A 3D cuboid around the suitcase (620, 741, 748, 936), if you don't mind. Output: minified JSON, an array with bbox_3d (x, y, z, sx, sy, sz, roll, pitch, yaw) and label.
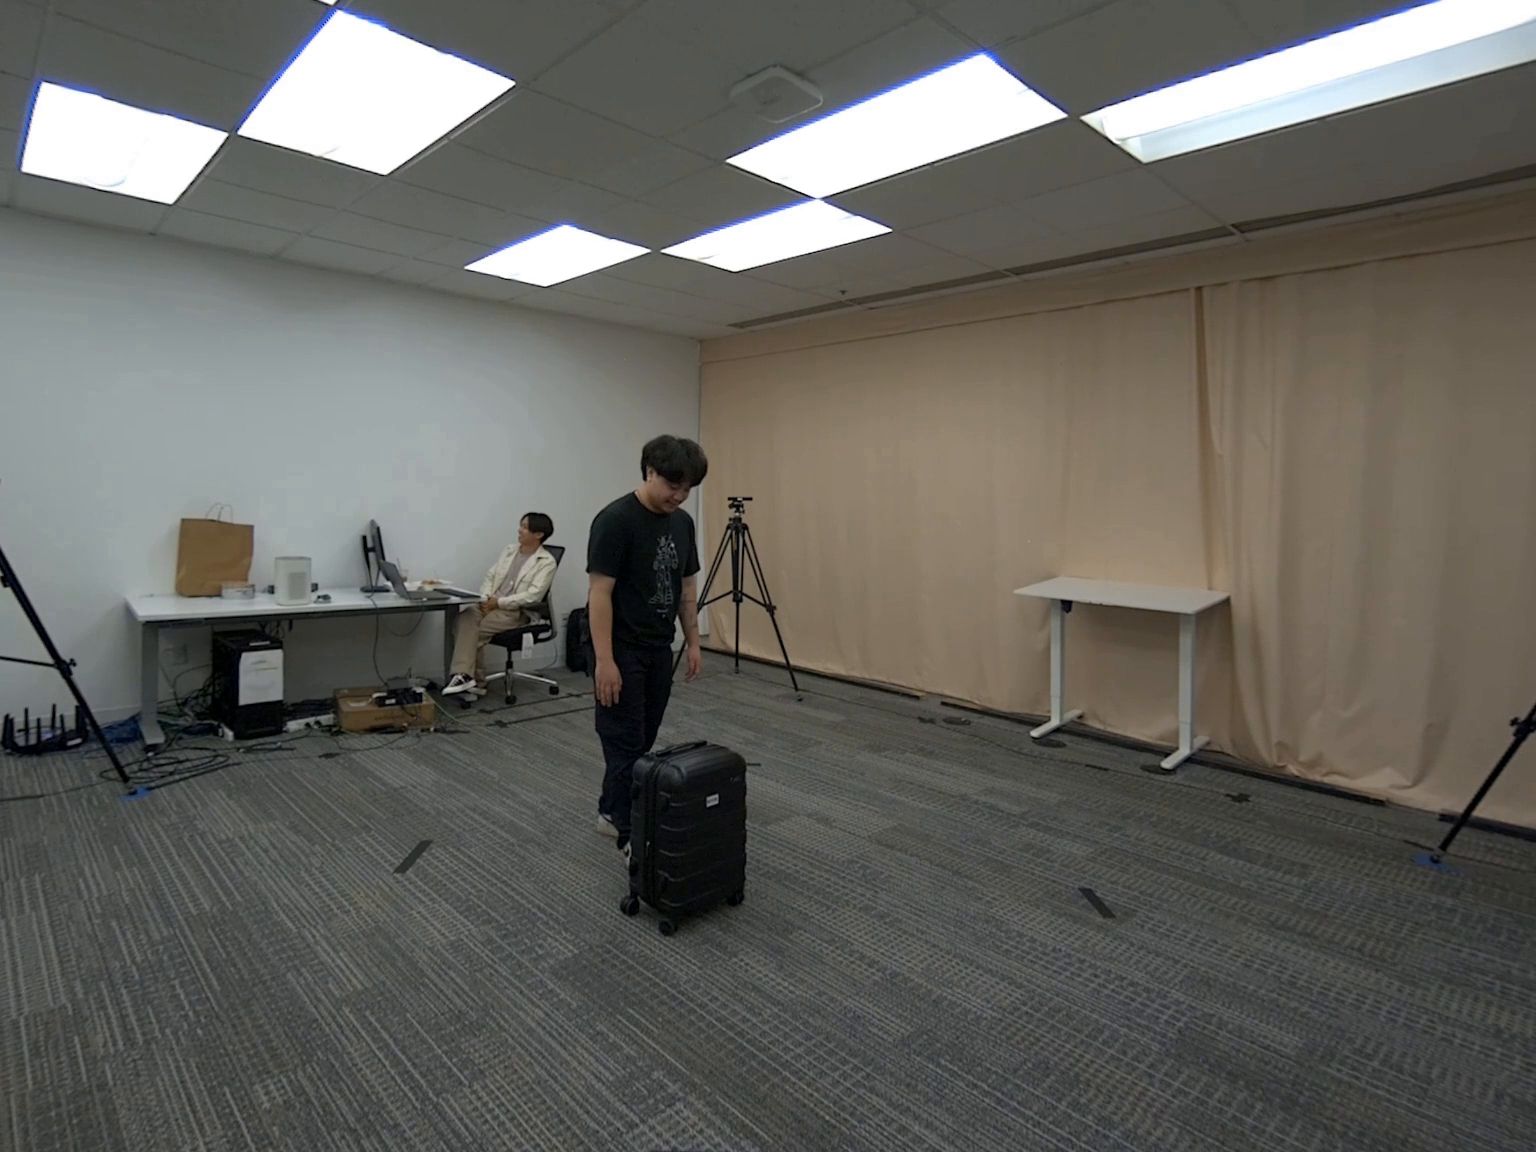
[{"bbox_3d":[-0.272,0.854,2.839,0.255,0.548,0.366,6,5,45],"label":"suitcase"}]
